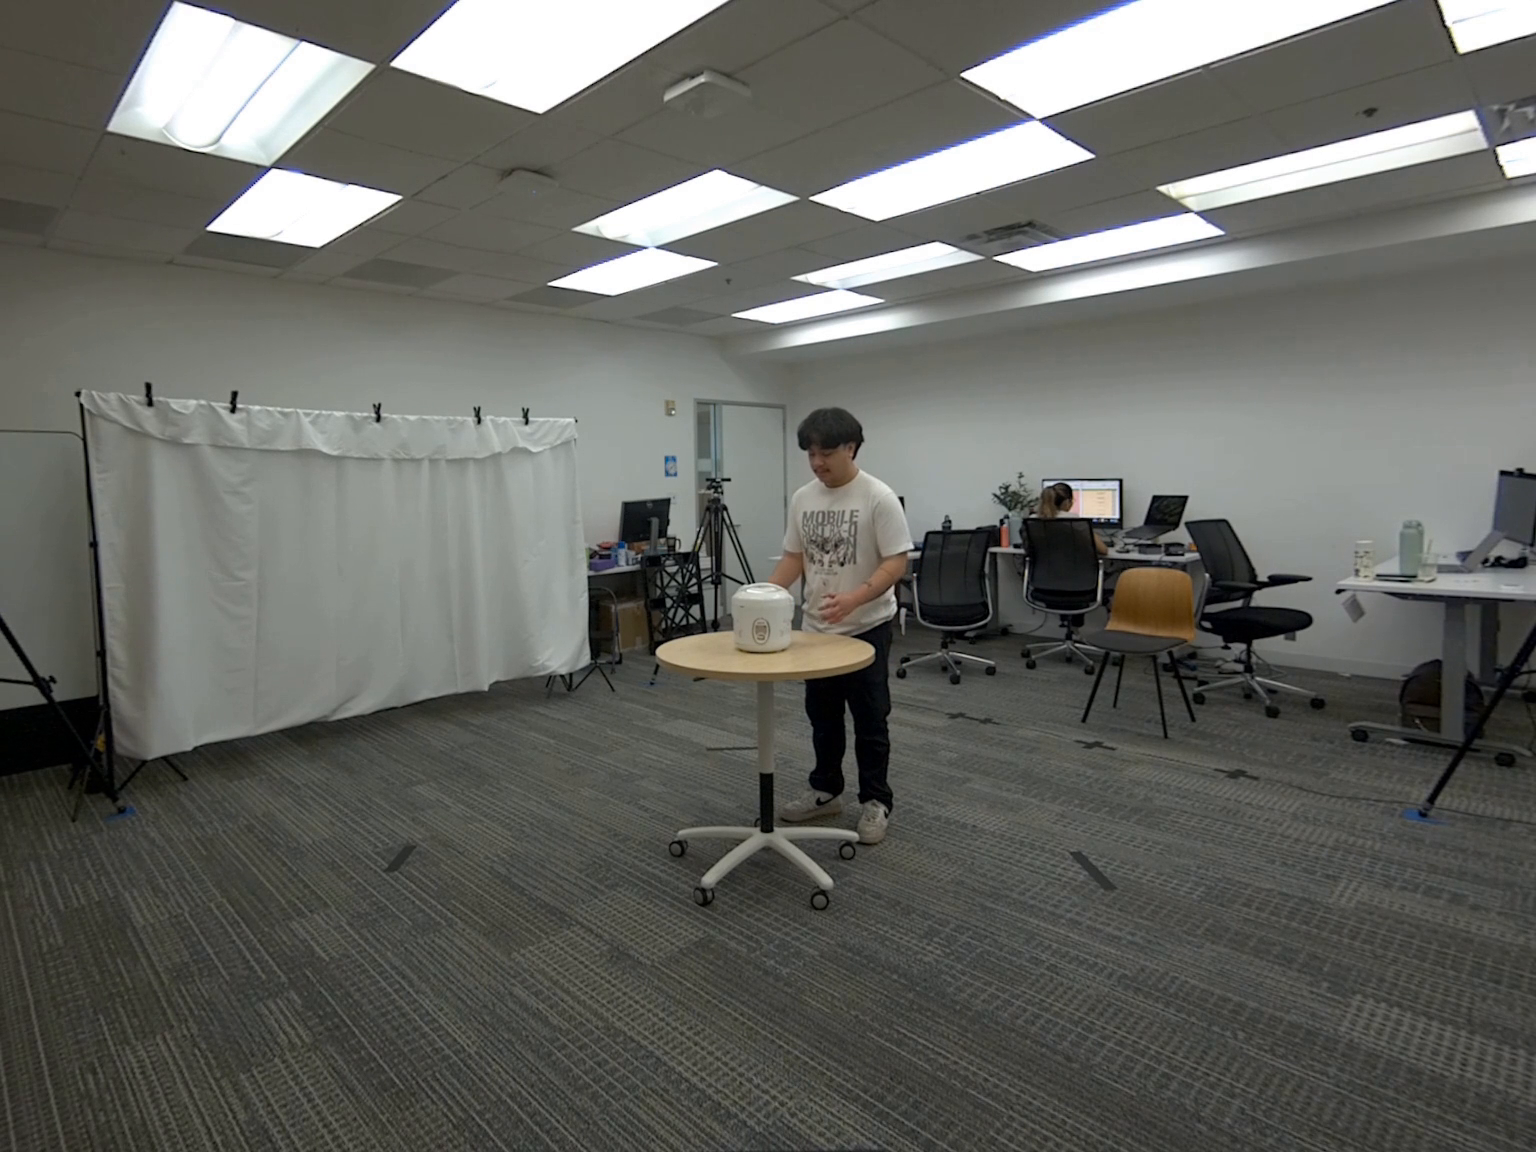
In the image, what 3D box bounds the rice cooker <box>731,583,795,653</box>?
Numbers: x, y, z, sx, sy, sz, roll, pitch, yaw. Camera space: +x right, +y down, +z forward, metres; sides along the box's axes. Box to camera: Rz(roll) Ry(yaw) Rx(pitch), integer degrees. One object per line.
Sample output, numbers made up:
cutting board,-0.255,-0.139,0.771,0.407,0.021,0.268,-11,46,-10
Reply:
rice cooker,-0.015,0.138,2.997,0.221,0.232,0.217,-2,5,3
